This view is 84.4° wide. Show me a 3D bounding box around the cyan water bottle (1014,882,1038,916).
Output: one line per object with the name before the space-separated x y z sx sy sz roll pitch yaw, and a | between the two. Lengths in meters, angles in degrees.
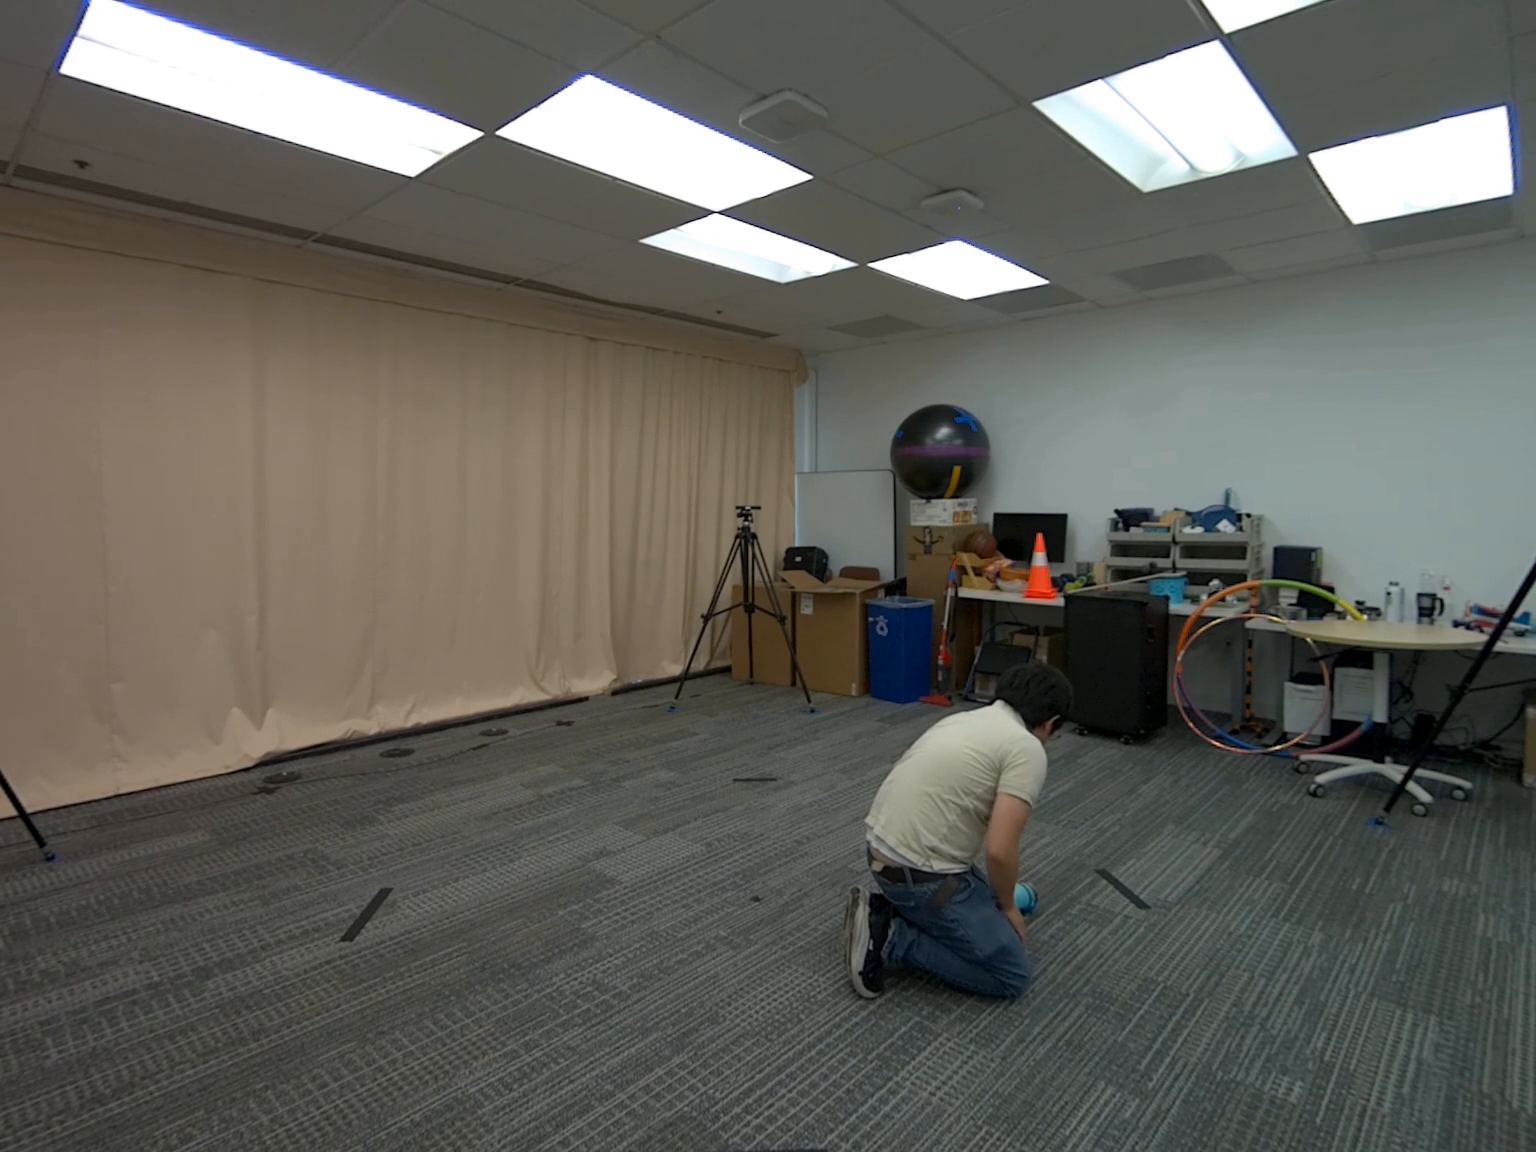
cyan water bottle | 0.794 1.101 2.851 0.276 0.092 0.095 -2 4 -27
